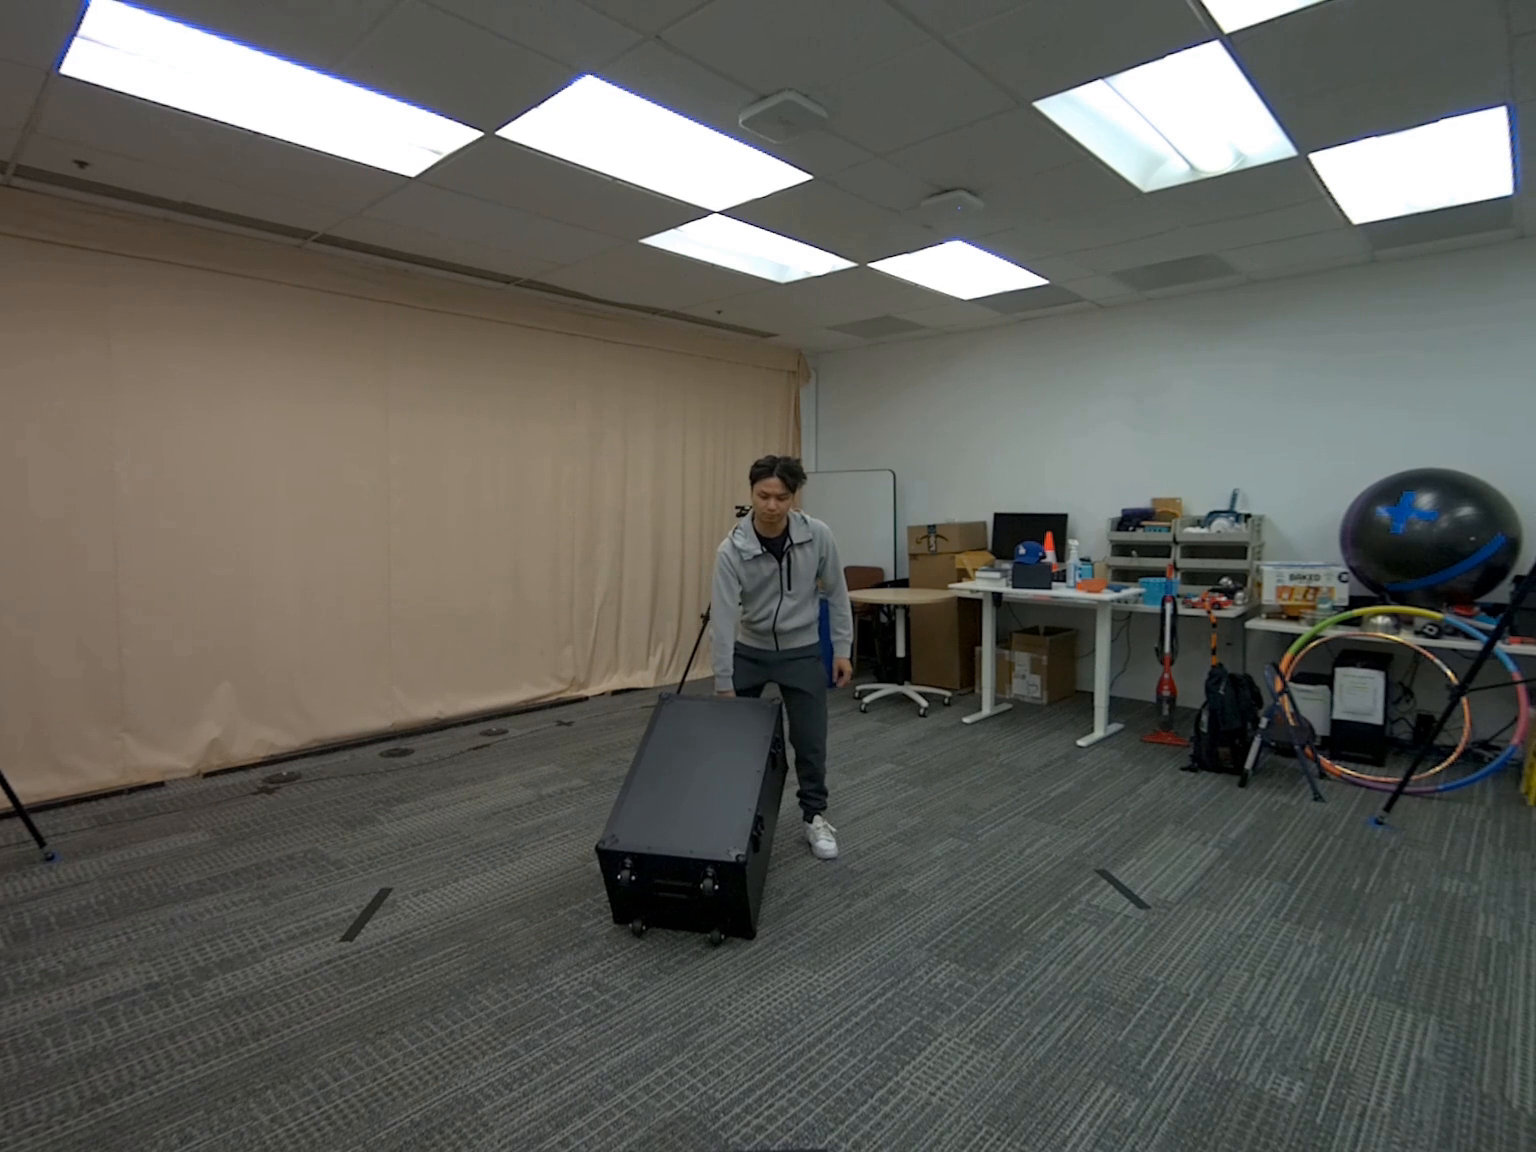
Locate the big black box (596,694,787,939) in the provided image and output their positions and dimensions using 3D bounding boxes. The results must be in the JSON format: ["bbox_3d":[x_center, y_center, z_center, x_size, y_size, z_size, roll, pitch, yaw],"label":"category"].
[{"bbox_3d":[-0.238,0.835,2.988,0.529,0.389,0.865,0,29,12],"label":"big black box"}]
